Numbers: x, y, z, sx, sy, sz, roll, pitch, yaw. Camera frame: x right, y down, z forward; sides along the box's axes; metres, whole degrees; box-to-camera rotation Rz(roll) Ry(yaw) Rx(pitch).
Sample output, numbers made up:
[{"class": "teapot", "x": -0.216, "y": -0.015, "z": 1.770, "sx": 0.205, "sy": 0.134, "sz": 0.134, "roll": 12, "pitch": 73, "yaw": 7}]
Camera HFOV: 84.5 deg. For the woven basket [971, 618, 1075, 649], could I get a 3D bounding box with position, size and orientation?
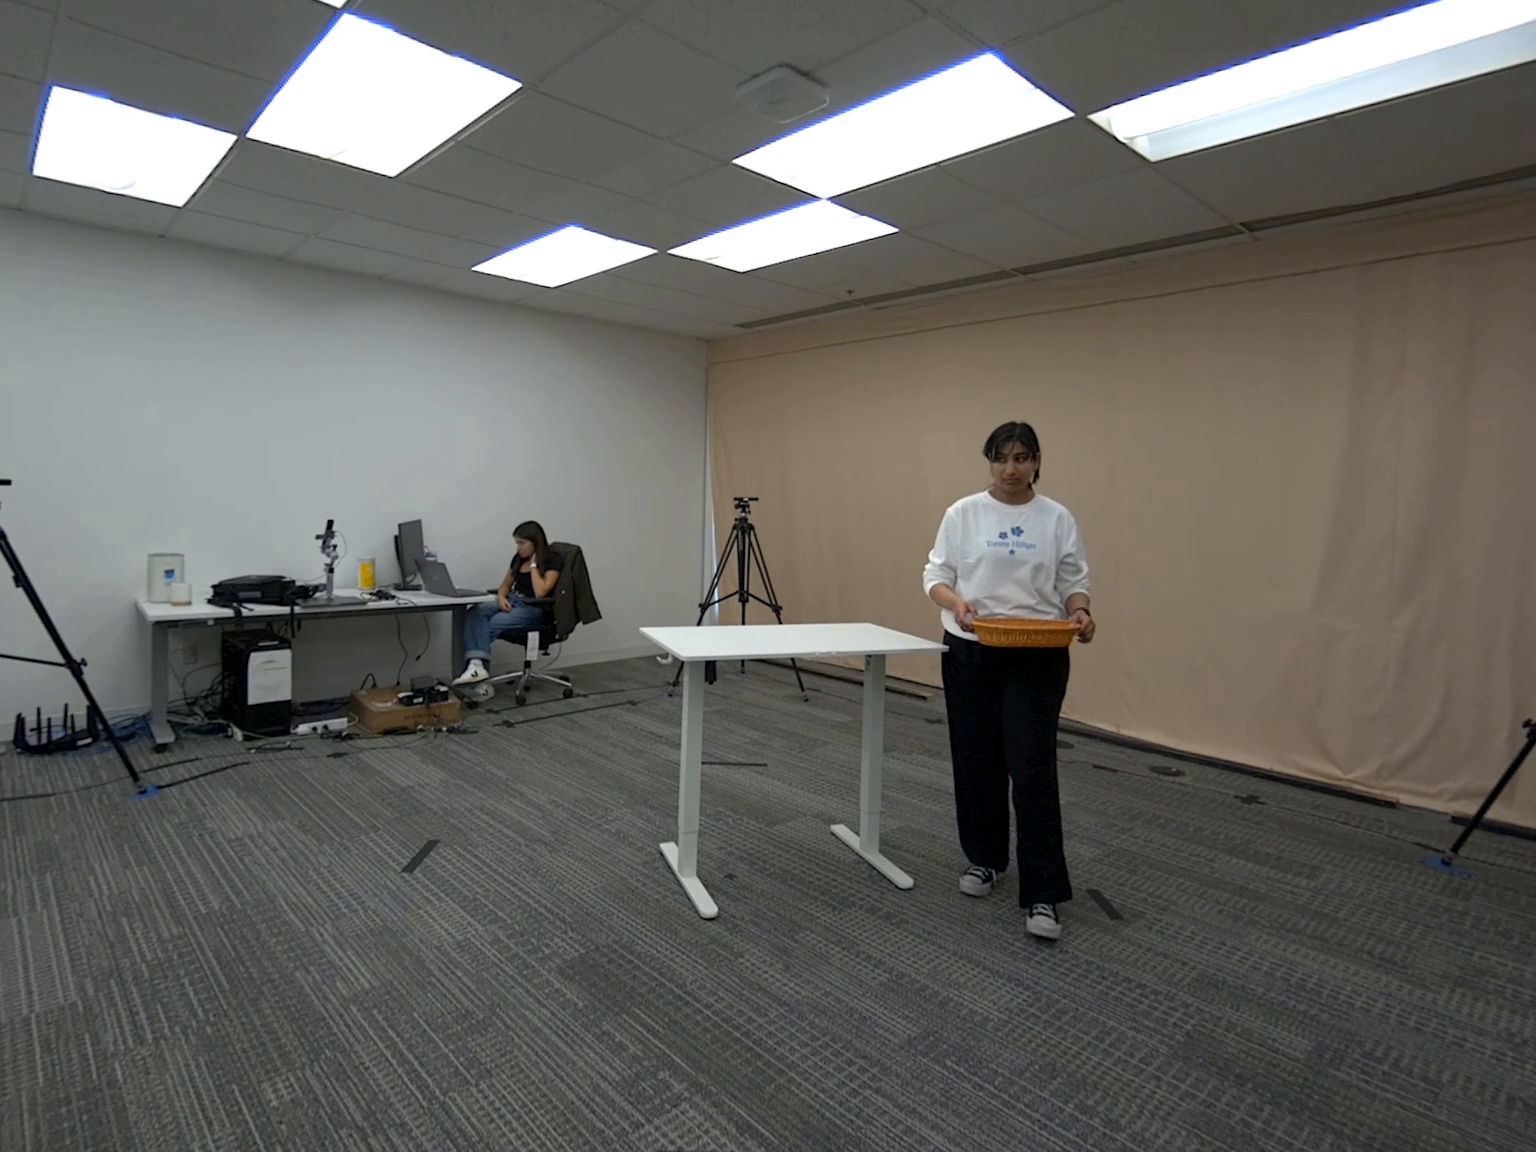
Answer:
[{"class": "woven basket", "x": 0.856, "y": 0.192, "z": 2.742, "sx": 0.351, "sy": 0.073, "sz": 0.253, "roll": 1, "pitch": 4, "yaw": 0}]
